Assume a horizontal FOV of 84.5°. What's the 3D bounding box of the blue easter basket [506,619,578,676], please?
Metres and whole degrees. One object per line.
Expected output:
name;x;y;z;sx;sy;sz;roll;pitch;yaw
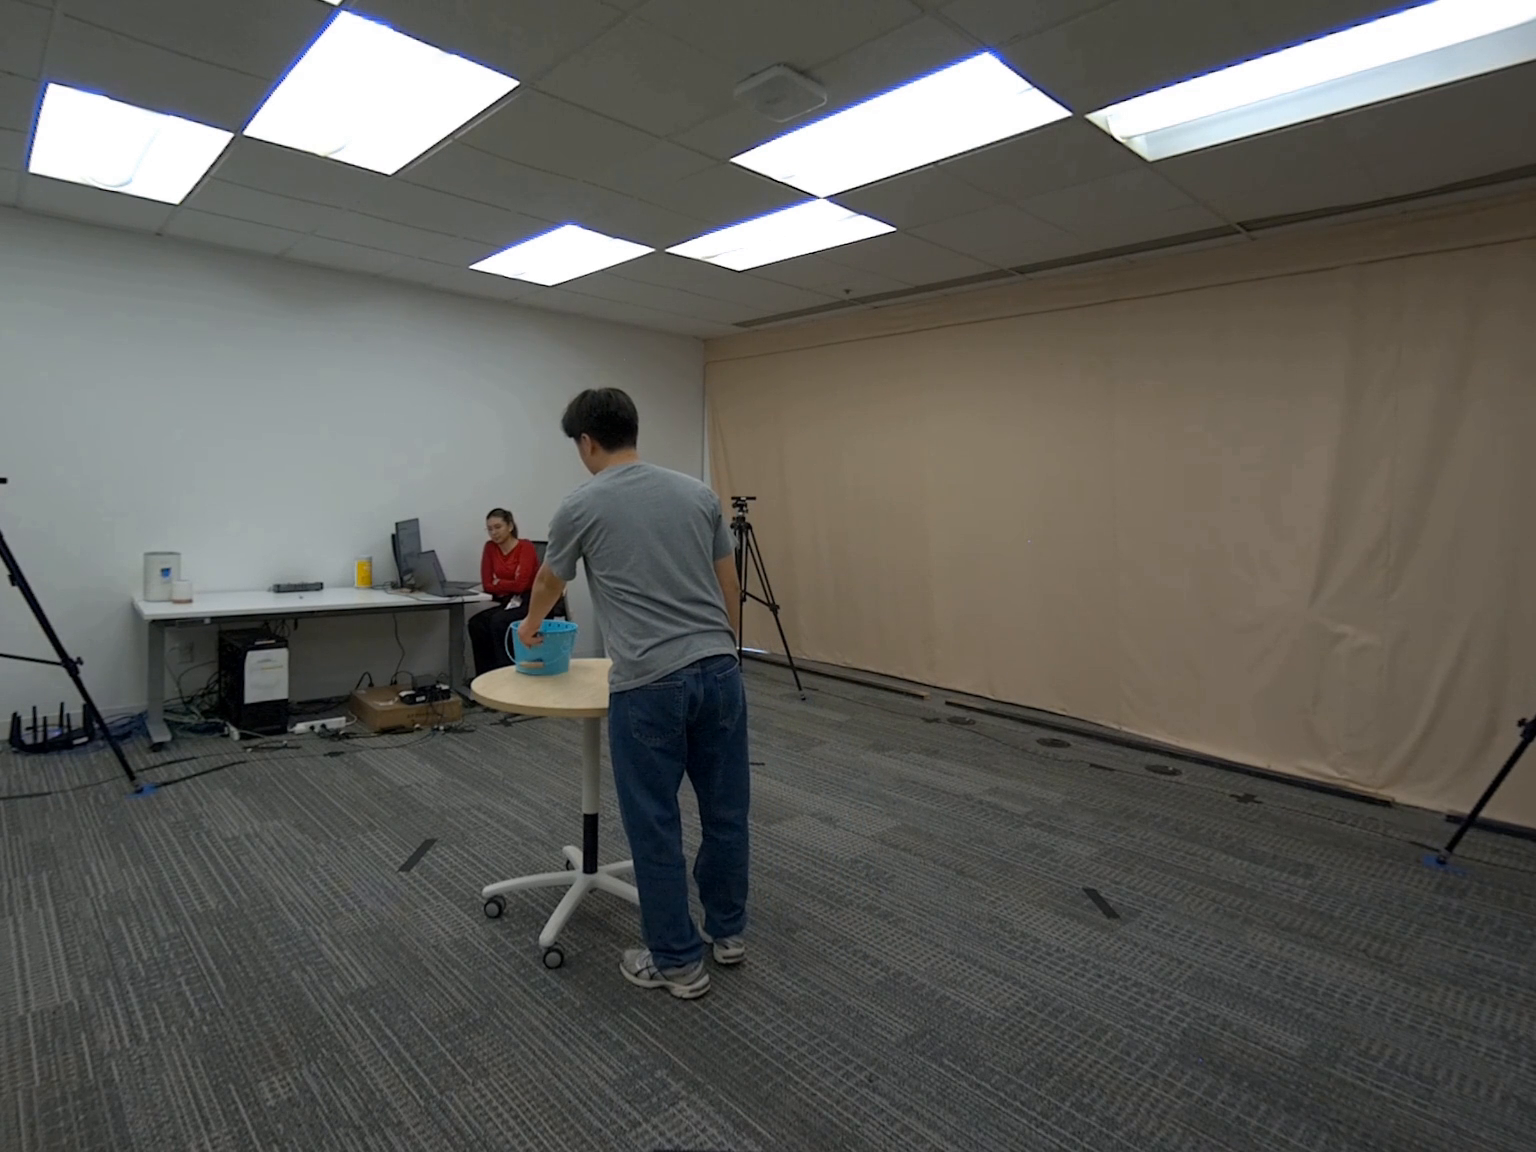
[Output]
blue easter basket;-0.799;0.253;2.899;0.243;0.155;0.245;2;6;-2
